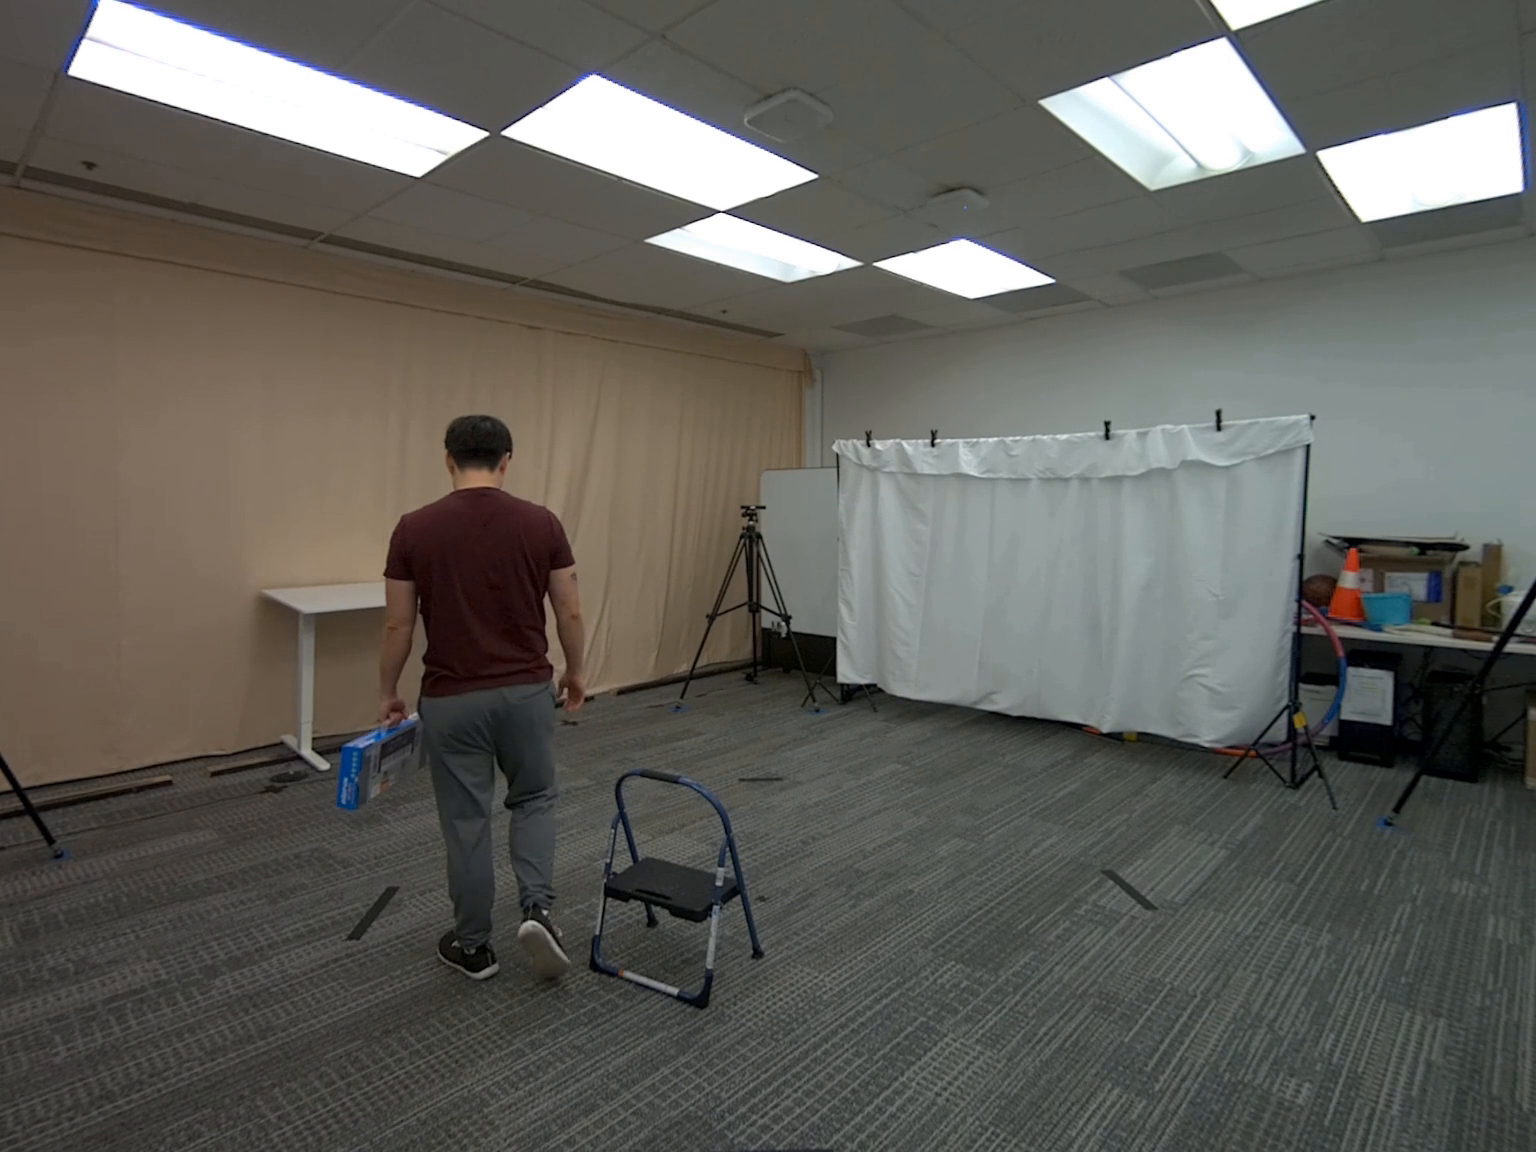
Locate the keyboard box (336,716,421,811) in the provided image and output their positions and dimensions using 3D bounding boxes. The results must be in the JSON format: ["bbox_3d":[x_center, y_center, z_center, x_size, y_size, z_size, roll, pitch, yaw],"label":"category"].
[{"bbox_3d":[-1.121,0.538,2.502,0.059,0.176,0.436,7,3,1],"label":"keyboard box"}]
